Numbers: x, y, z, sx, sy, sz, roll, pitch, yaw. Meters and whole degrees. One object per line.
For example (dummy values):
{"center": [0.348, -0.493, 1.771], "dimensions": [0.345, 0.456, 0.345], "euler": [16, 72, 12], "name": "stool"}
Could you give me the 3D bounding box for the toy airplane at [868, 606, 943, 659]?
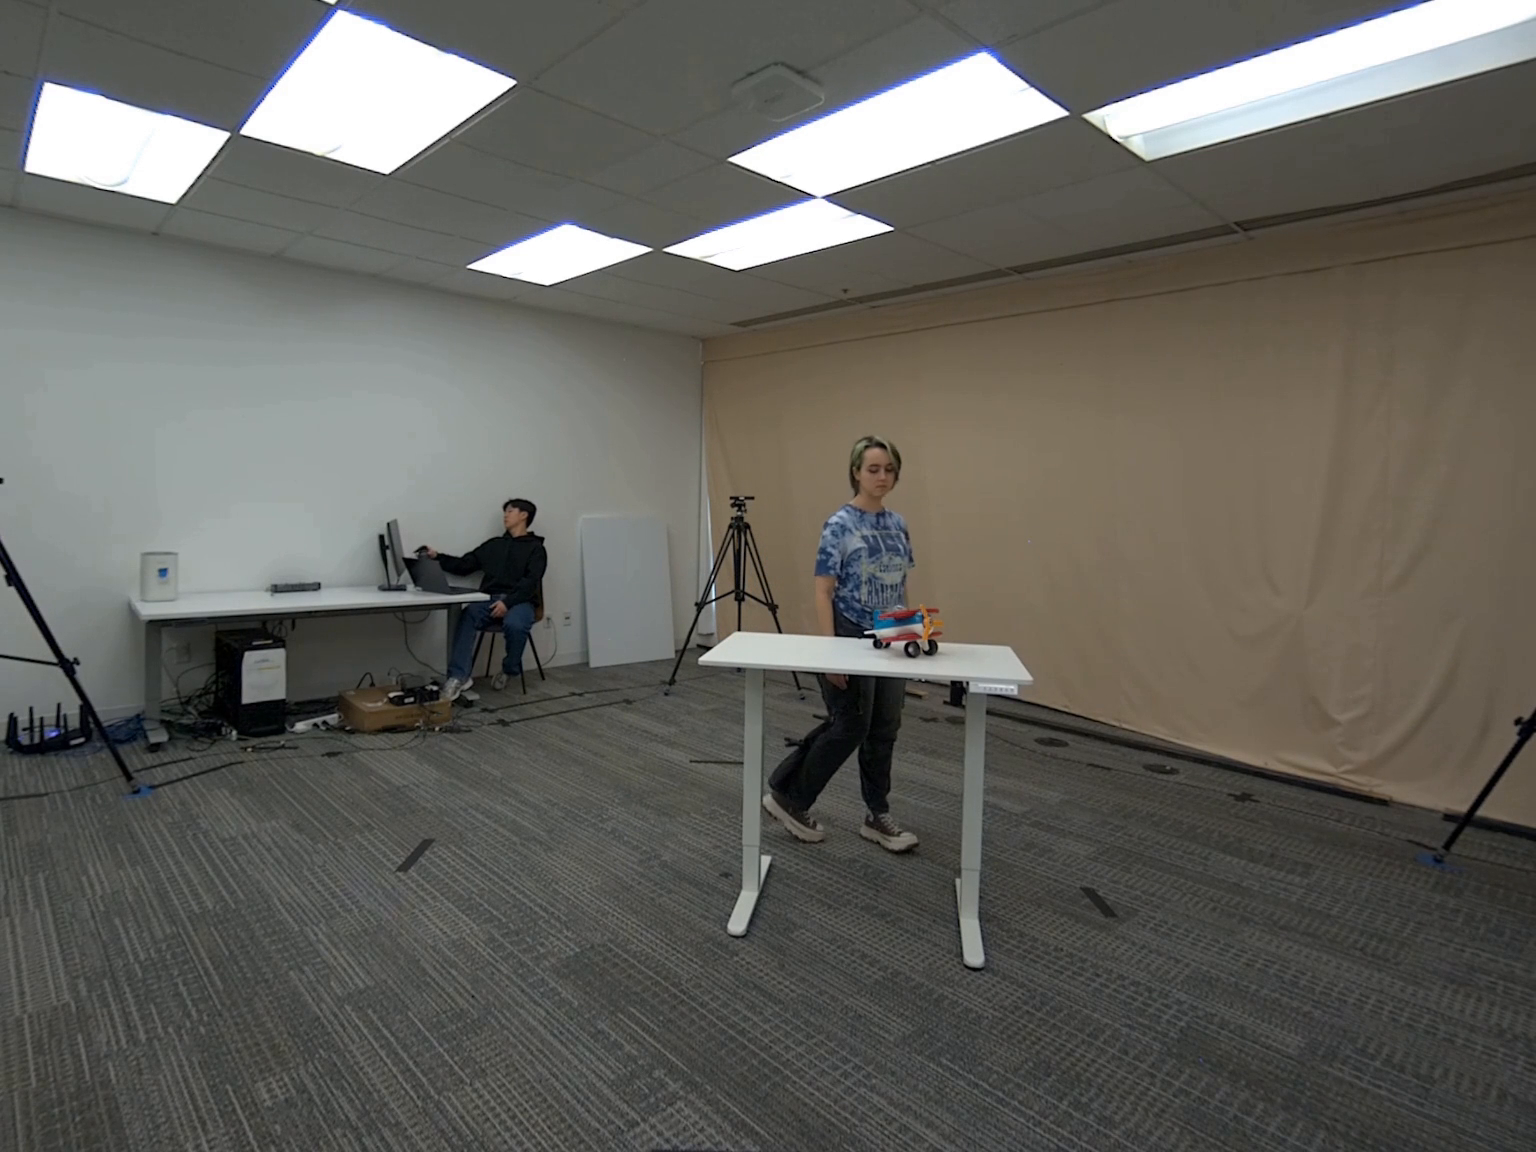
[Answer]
{"center": [0.439, 0.185, 2.831], "dimensions": [0.264, 0.156, 0.247], "euler": [4, 5, 24], "name": "toy airplane"}
